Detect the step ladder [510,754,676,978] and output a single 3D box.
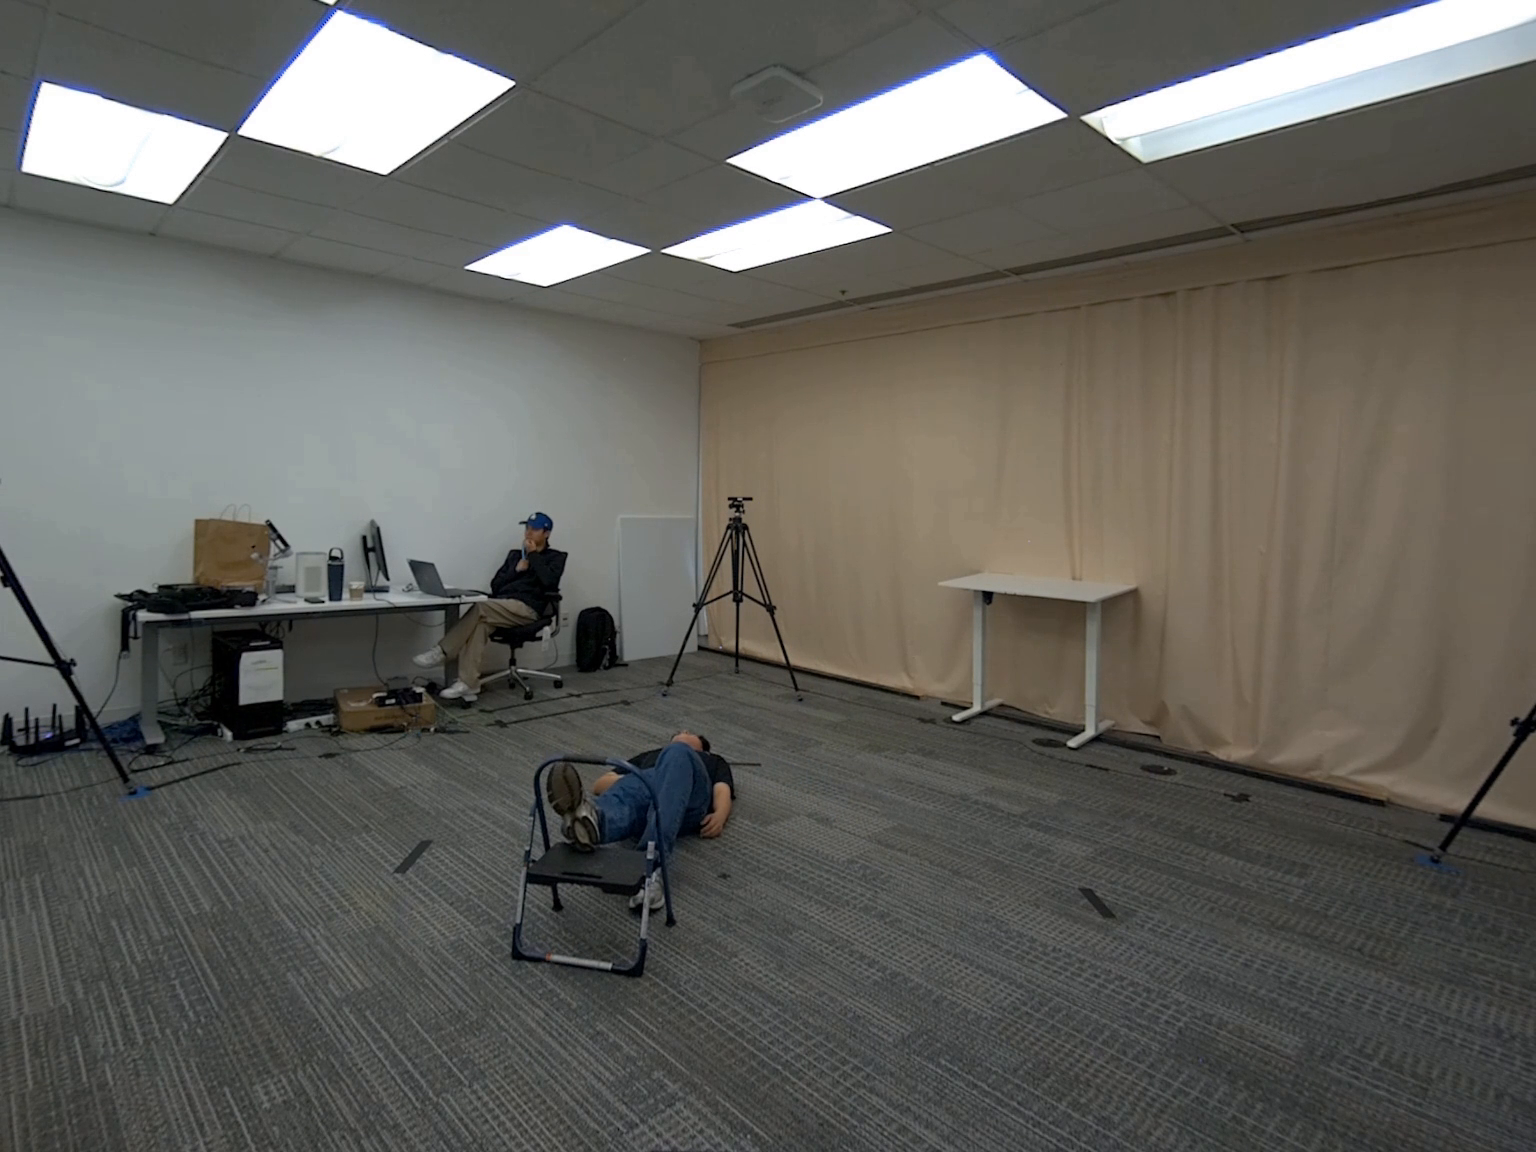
[{"bbox_3d":[-0.537,0.843,2.624,0.434,0.604,0.347,2,4,10],"label":"step ladder"}]
